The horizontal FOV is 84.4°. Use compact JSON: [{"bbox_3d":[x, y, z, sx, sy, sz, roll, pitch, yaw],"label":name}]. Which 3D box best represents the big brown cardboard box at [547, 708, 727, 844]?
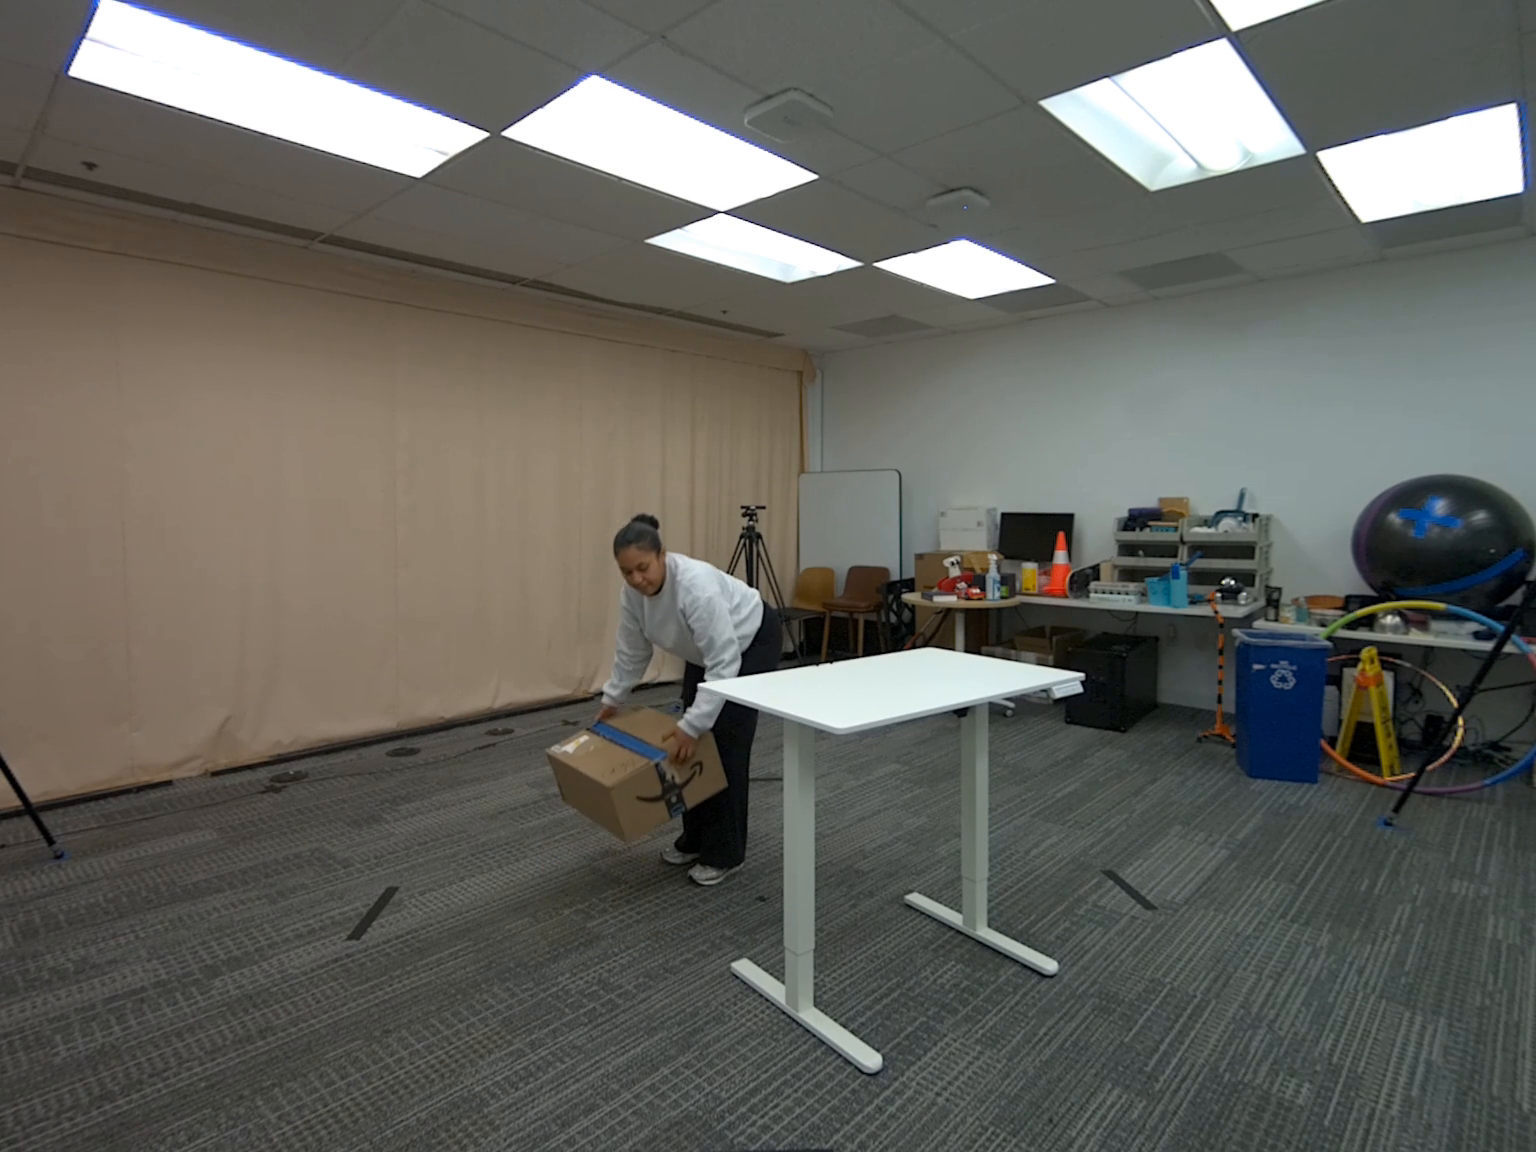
[{"bbox_3d":[-0.496,0.689,3.064,0.409,0.230,0.607,-24,16,-31],"label":"big brown cardboard box"}]
